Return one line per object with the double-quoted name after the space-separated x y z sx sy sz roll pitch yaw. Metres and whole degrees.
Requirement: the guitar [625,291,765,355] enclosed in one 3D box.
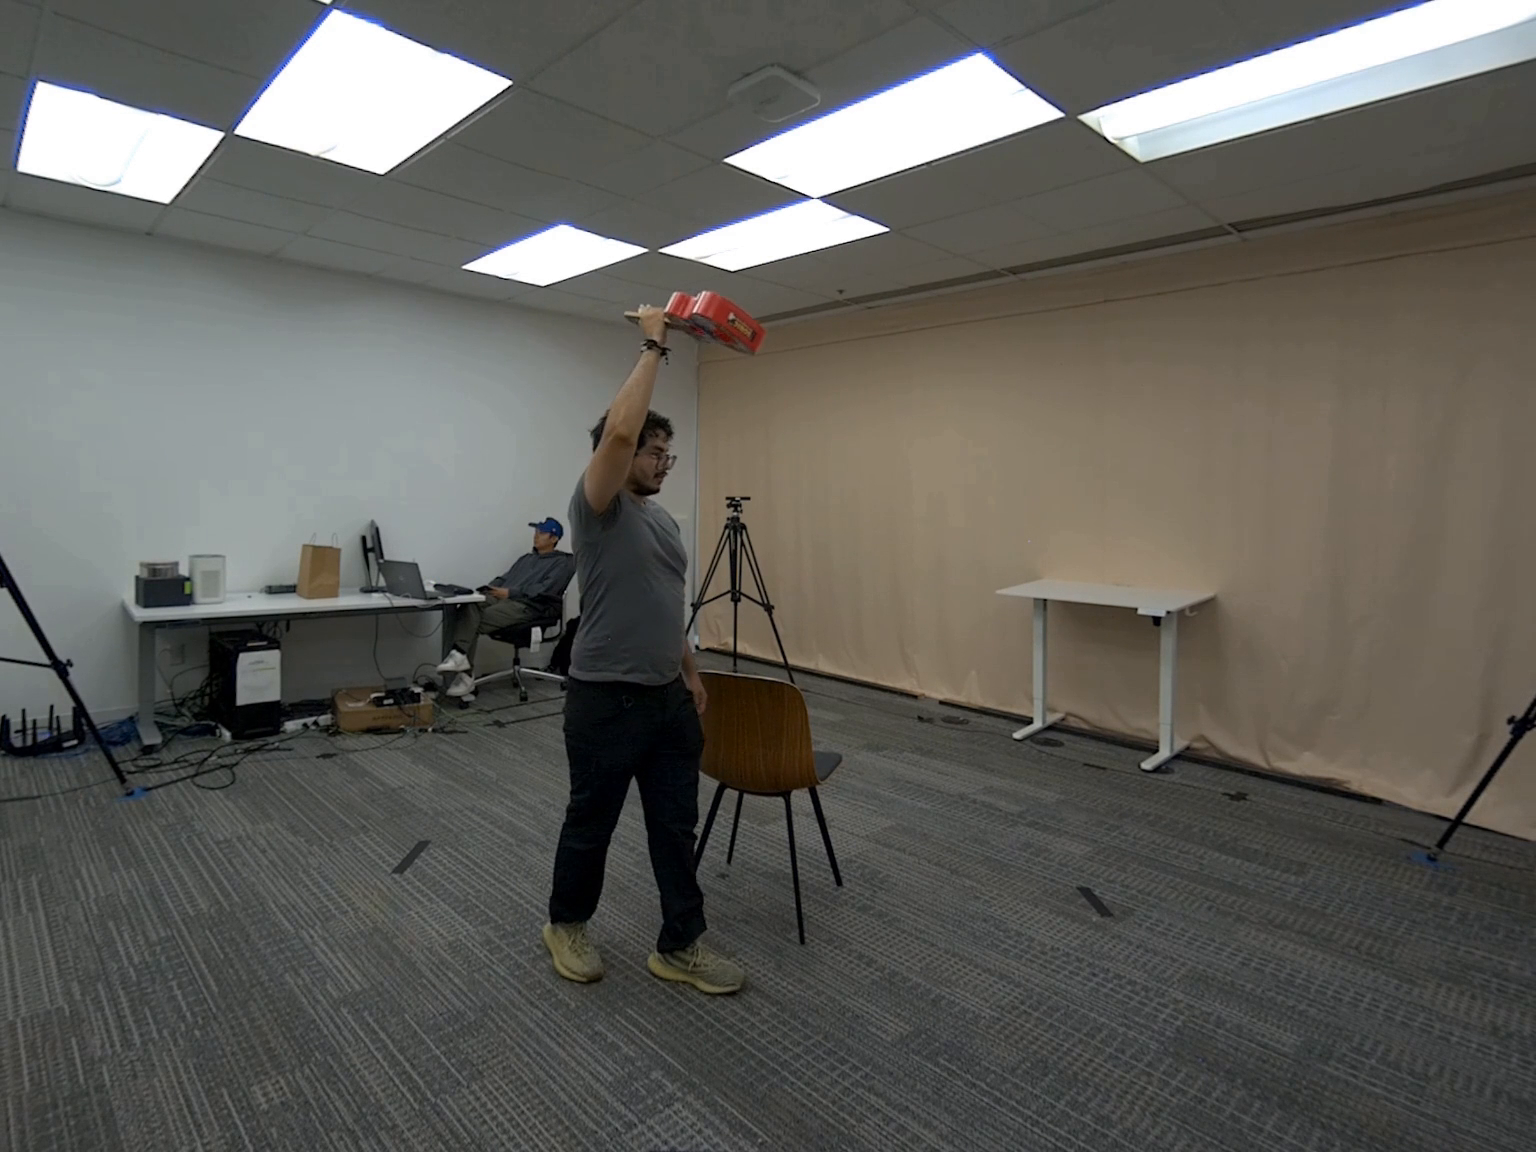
-0.235 -0.671 2.124 0.513 0.071 0.187 26 -1 38 "guitar"
